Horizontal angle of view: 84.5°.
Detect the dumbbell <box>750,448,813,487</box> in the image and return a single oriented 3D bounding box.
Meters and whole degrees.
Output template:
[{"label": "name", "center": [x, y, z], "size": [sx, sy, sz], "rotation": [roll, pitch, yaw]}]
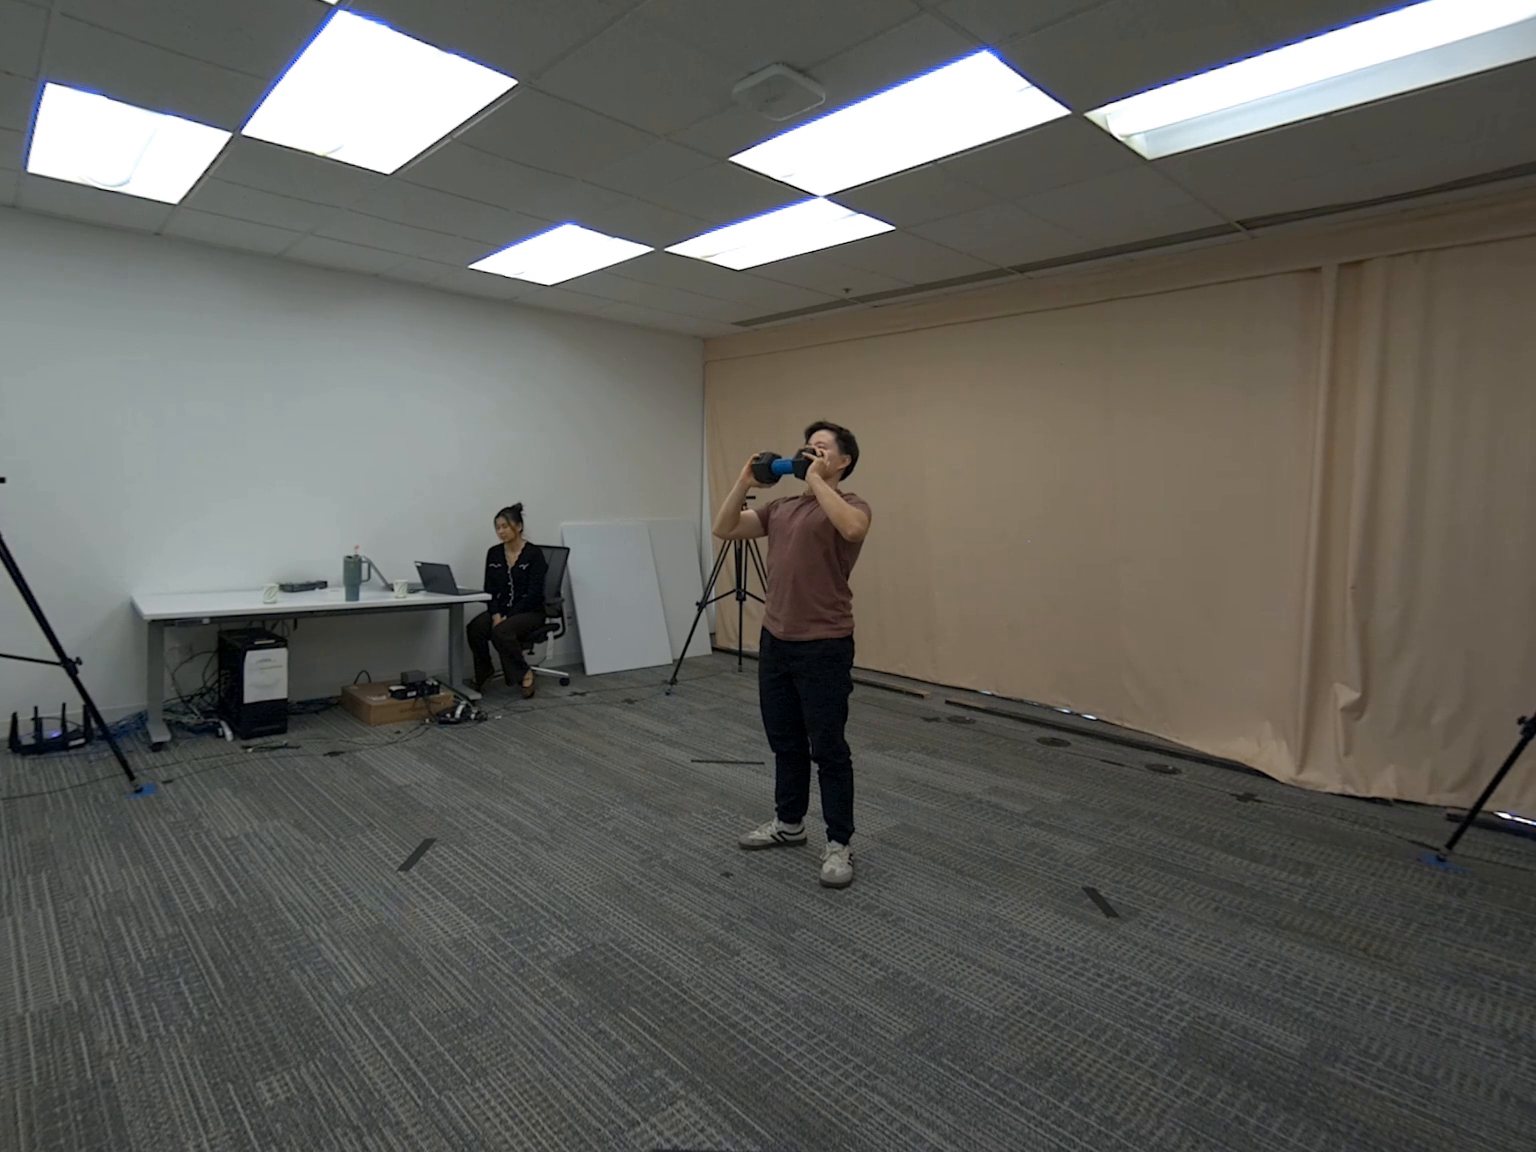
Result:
[{"label": "dumbbell", "center": [0.069, -0.415, 3.099], "size": [0.301, 0.123, 0.105], "rotation": [4, -37, 48]}]
